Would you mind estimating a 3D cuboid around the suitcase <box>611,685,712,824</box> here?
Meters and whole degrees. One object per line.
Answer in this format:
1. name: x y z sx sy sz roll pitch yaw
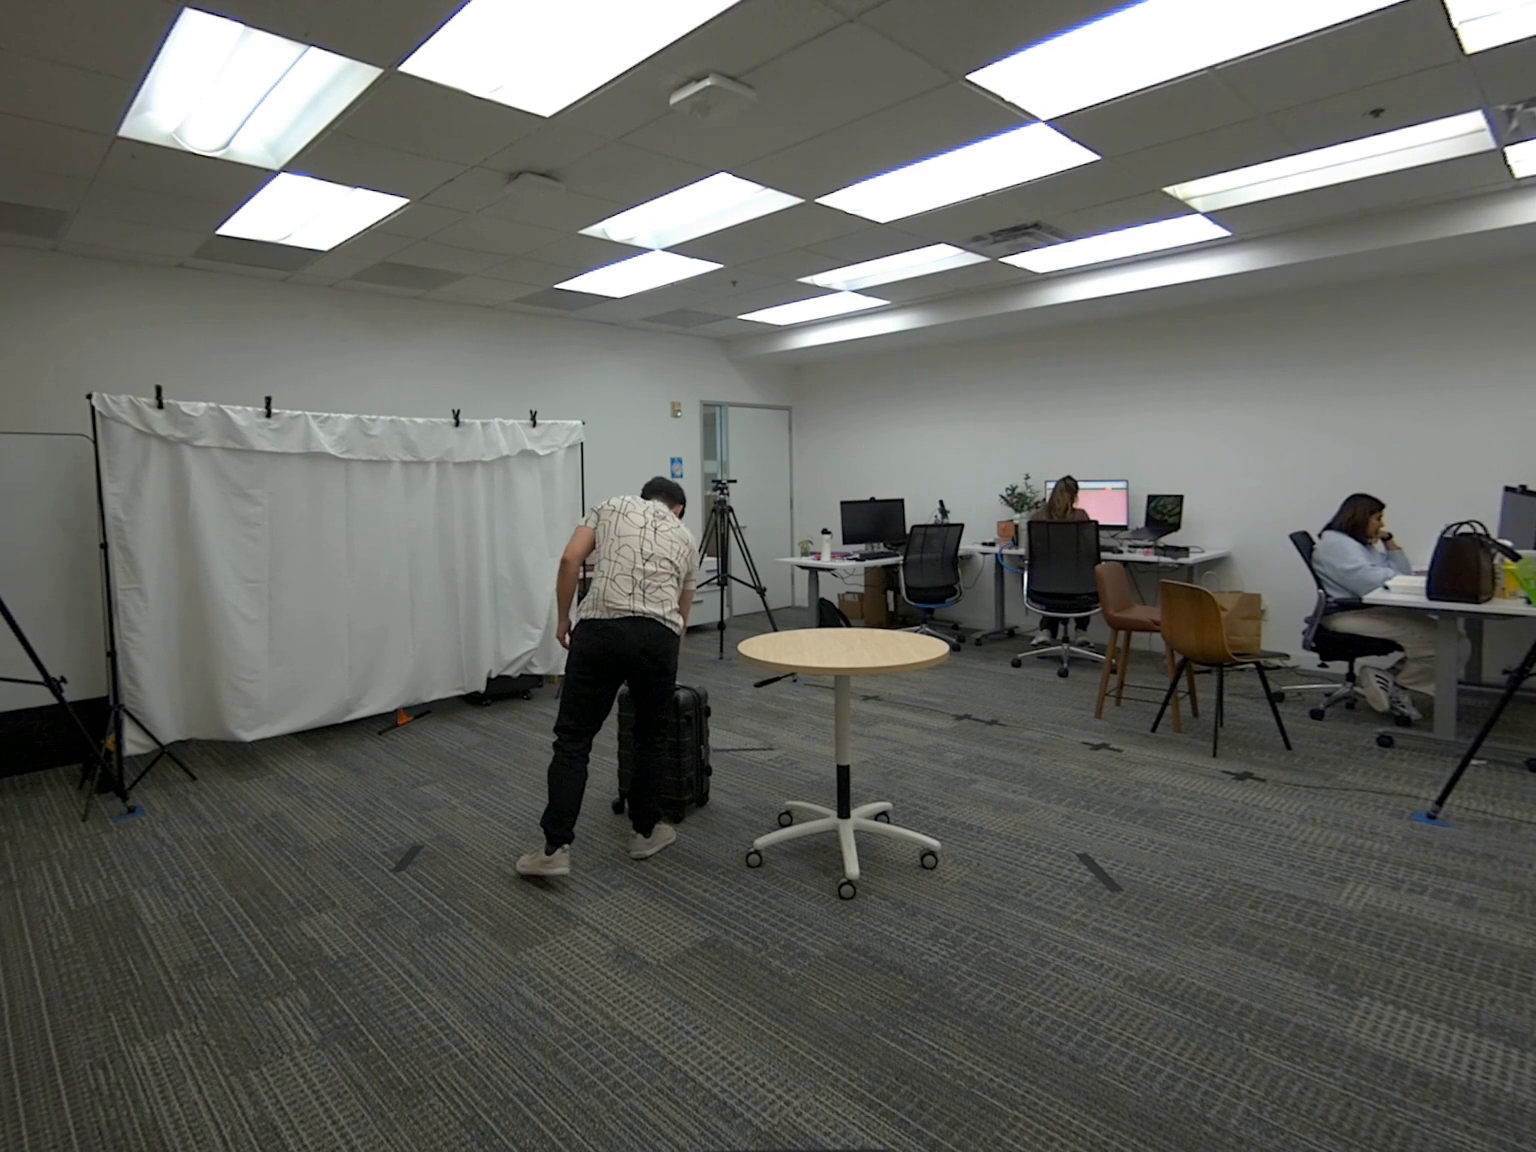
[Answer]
1. suitcase: -0.453 0.721 3.649 0.384 0.548 0.243 1 2 26
